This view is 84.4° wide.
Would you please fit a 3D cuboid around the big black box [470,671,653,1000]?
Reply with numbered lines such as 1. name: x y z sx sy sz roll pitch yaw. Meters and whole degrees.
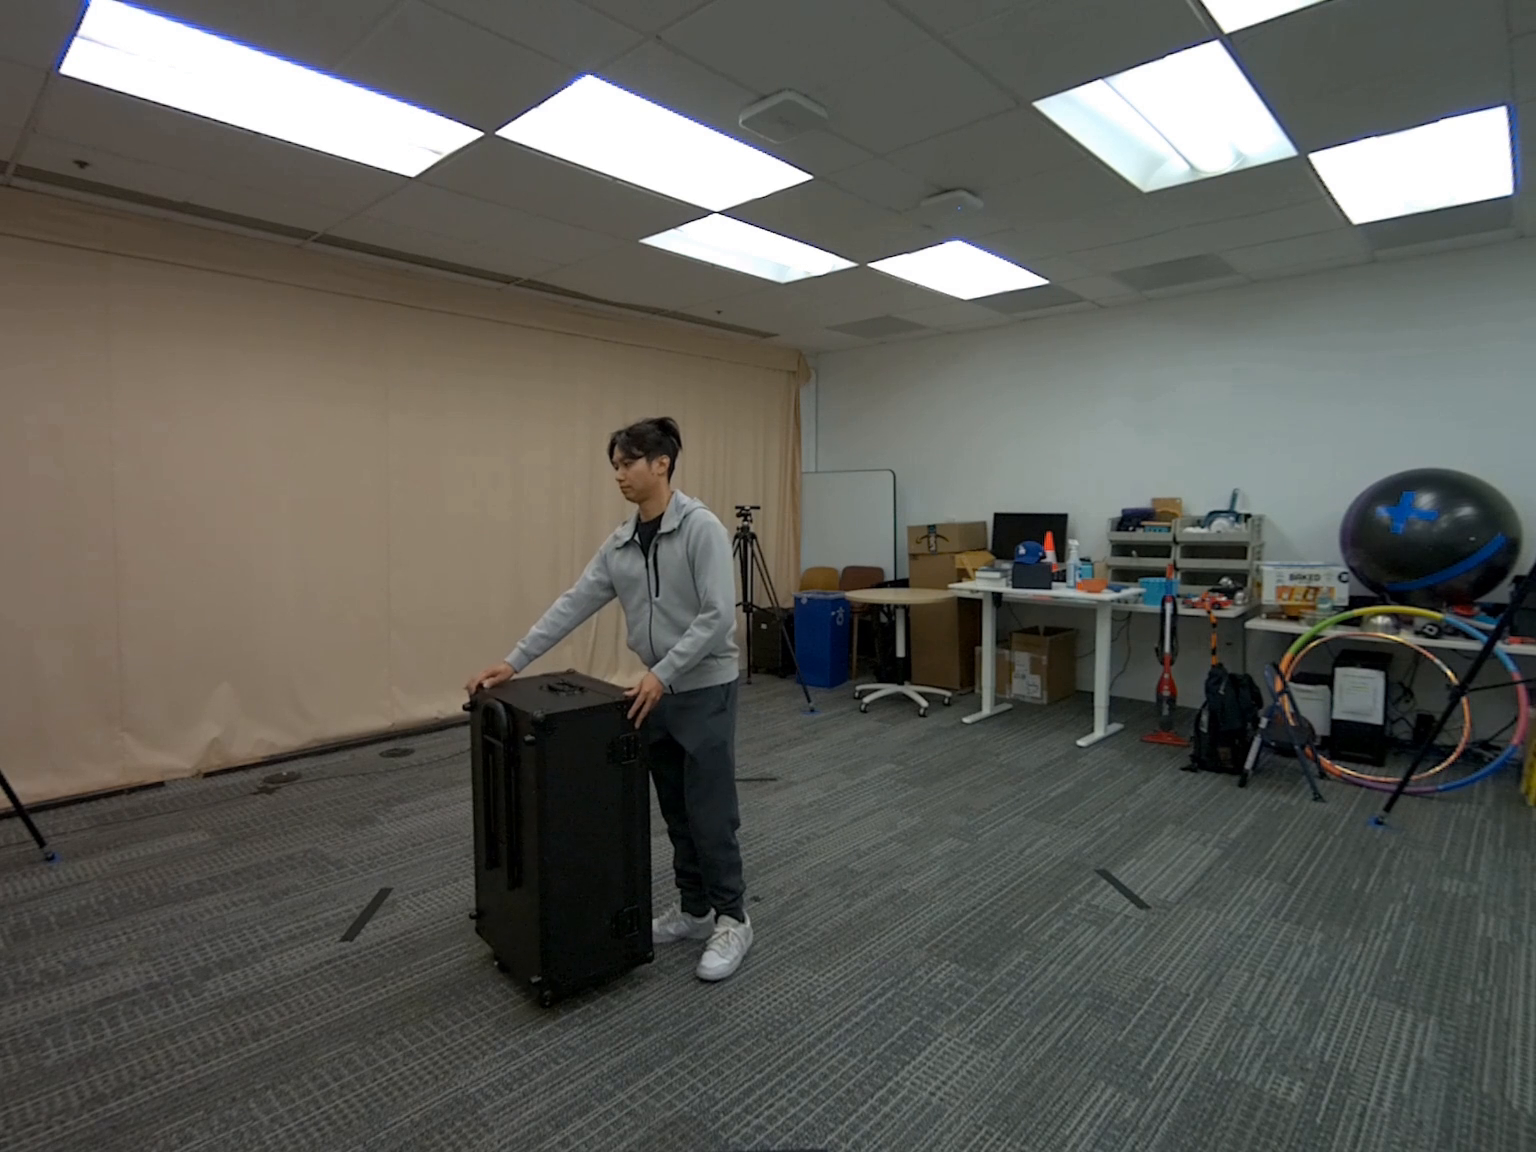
1. big black box: -0.630 0.764 2.506 0.384 0.859 0.538 -4 5 -39
